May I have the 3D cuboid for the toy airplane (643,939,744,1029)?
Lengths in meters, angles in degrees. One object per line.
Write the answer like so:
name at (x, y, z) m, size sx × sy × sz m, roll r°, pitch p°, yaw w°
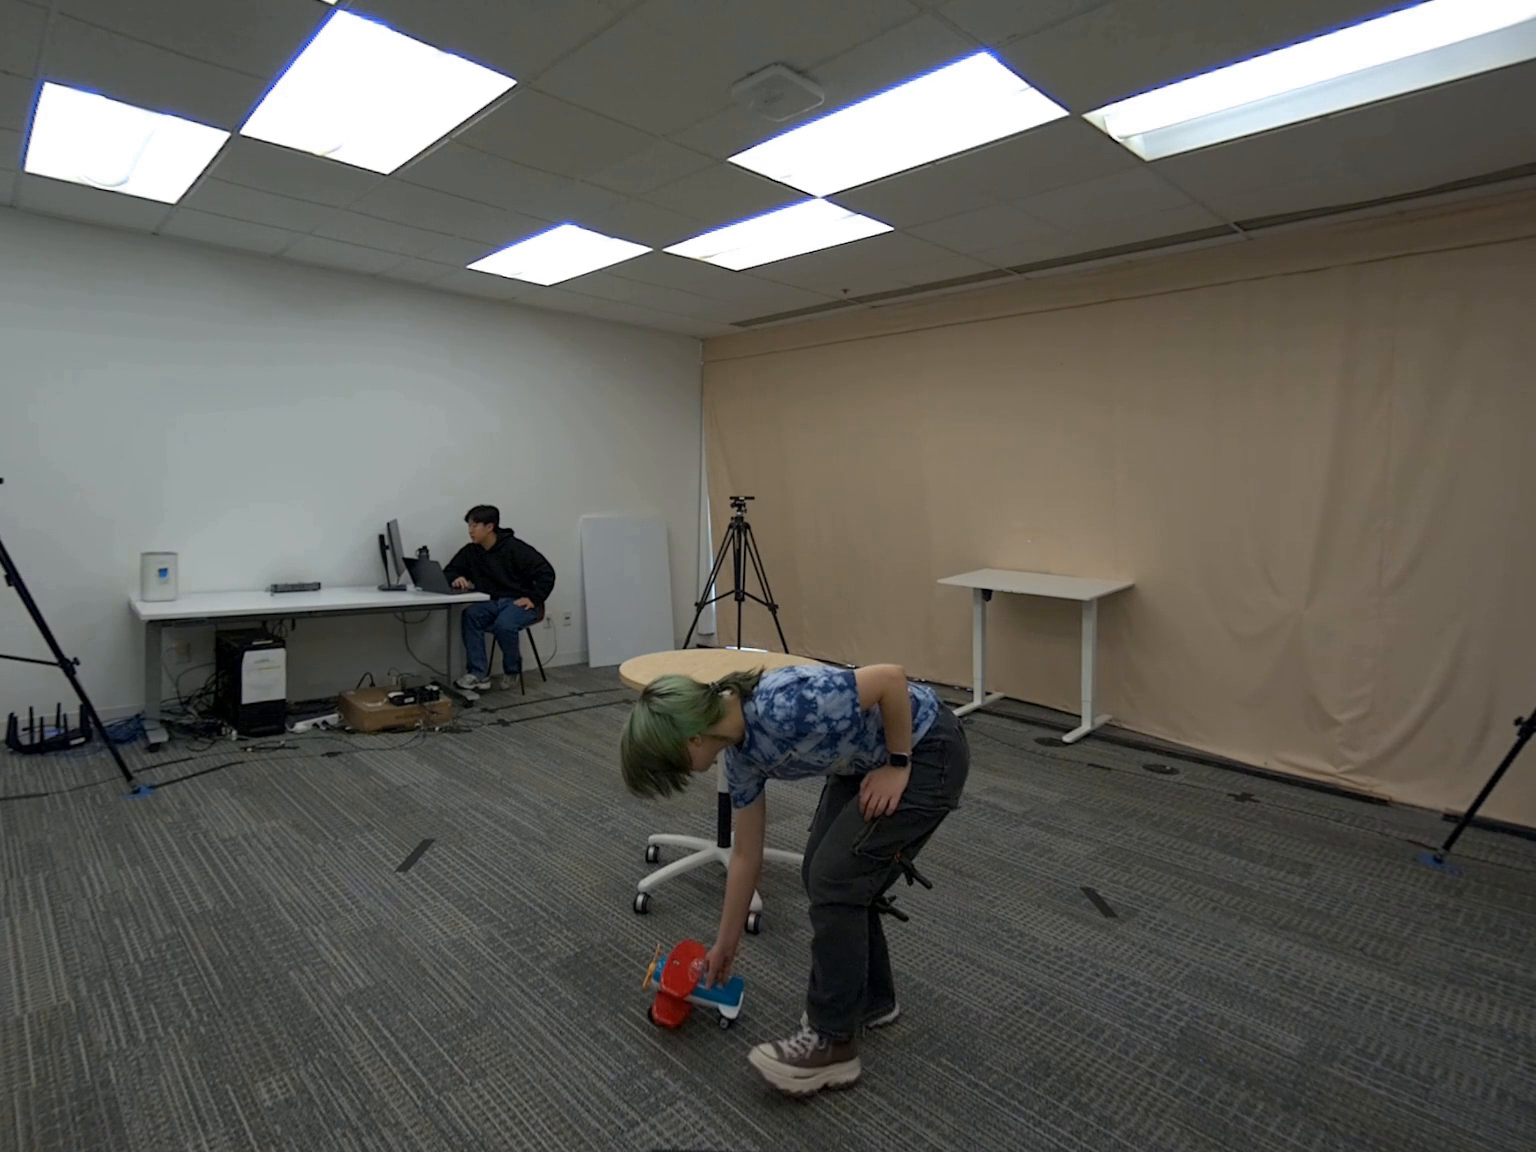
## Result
toy airplane at (-0.205, 1.112, 2.251) m, size 0.256 × 0.156 × 0.255 m, roll -2°, pitch 5°, yaw -17°
